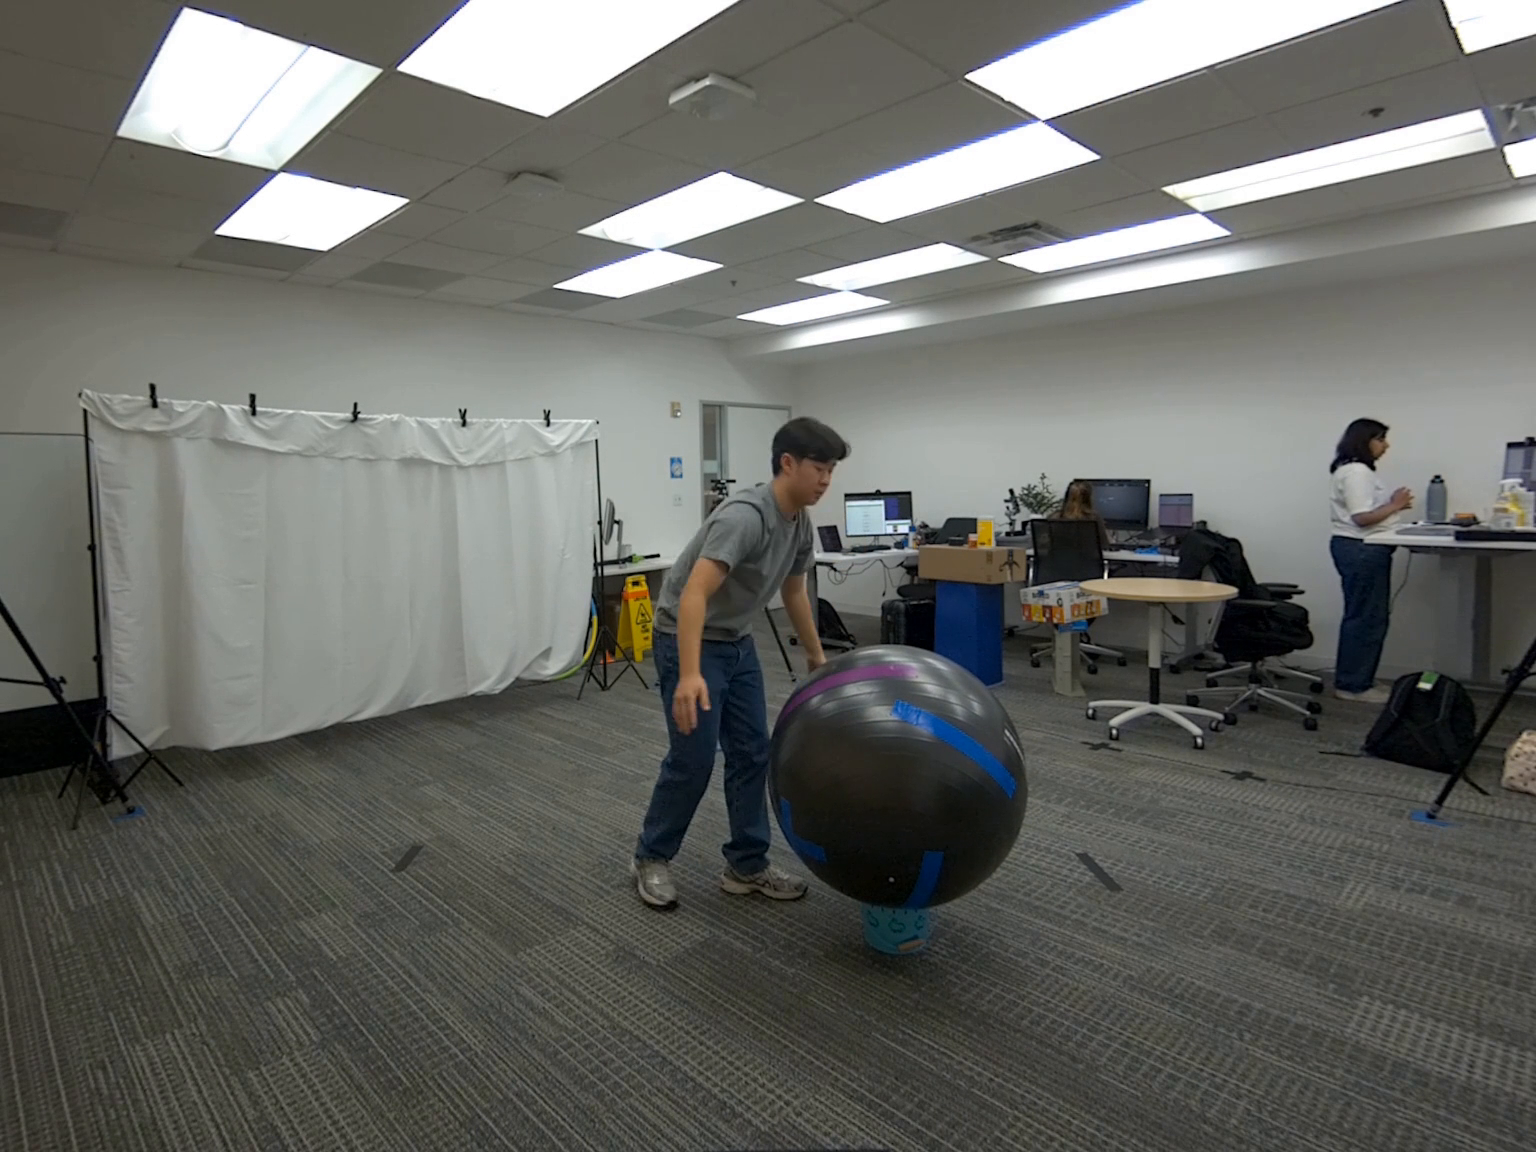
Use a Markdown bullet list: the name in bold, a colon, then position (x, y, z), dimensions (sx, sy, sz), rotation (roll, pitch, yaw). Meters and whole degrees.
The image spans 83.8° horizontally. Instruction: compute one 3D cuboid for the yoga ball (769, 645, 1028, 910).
- **yoga ball**: position (0.383, 0.593, 2.555), dimensions (0.757, 0.755, 0.762), rotation (-1, 5, -2)
